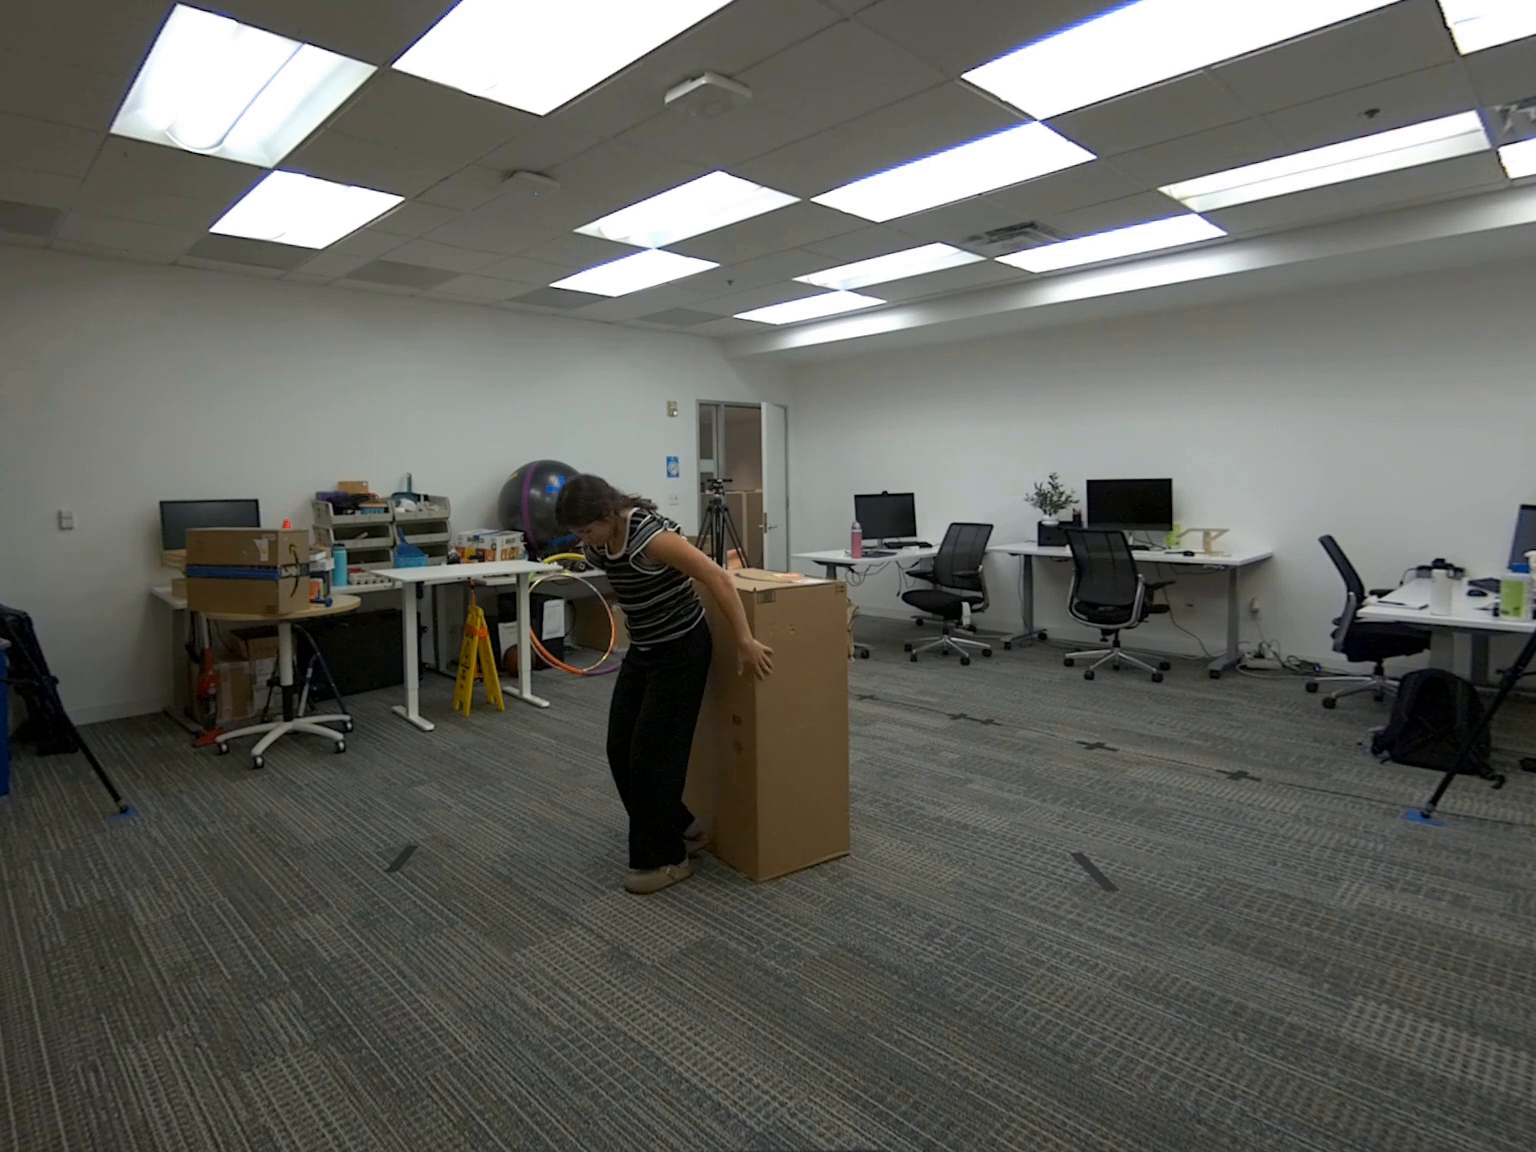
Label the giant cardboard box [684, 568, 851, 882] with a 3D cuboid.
[{"bbox_3d":[-0.035,0.515,3.269,0.415,1.022,0.594,-4,5,-35],"label":"giant cardboard box"}]
